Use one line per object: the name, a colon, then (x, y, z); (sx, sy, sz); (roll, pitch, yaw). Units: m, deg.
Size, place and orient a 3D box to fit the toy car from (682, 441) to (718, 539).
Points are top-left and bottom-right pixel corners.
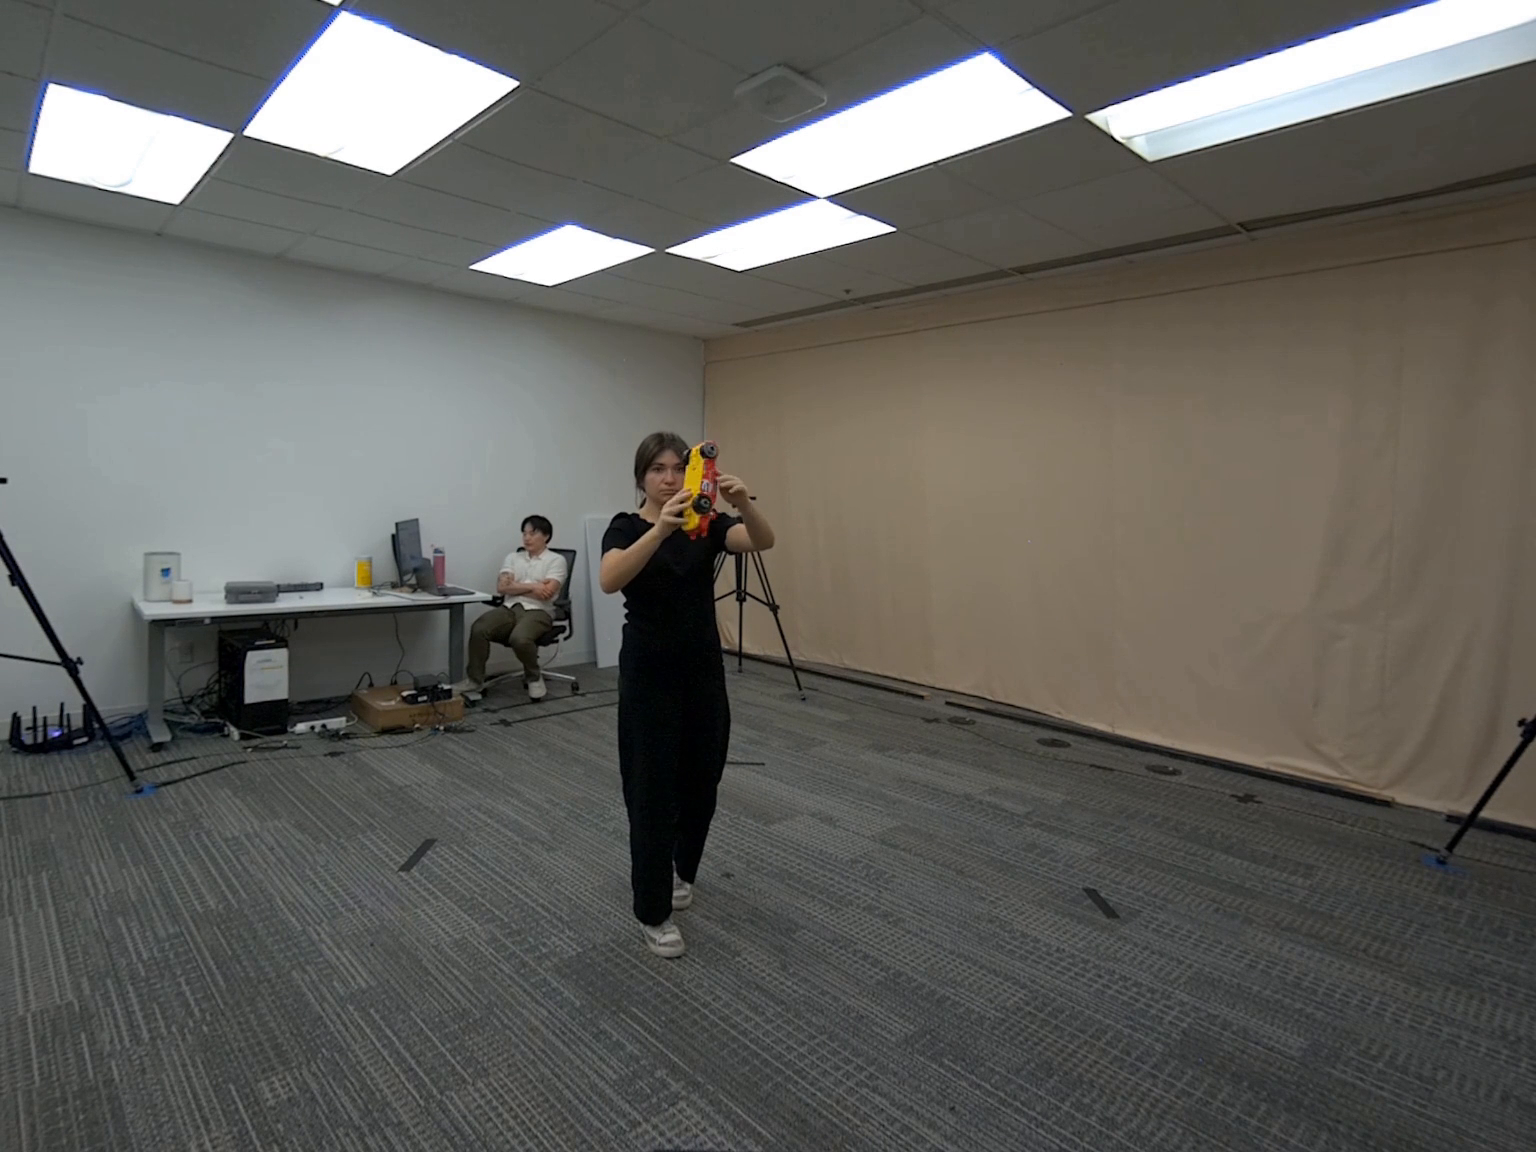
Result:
toy car: (-0.186, -0.222, 2.189); (0.081, 0.256, 0.133); (4, -9, -36)
